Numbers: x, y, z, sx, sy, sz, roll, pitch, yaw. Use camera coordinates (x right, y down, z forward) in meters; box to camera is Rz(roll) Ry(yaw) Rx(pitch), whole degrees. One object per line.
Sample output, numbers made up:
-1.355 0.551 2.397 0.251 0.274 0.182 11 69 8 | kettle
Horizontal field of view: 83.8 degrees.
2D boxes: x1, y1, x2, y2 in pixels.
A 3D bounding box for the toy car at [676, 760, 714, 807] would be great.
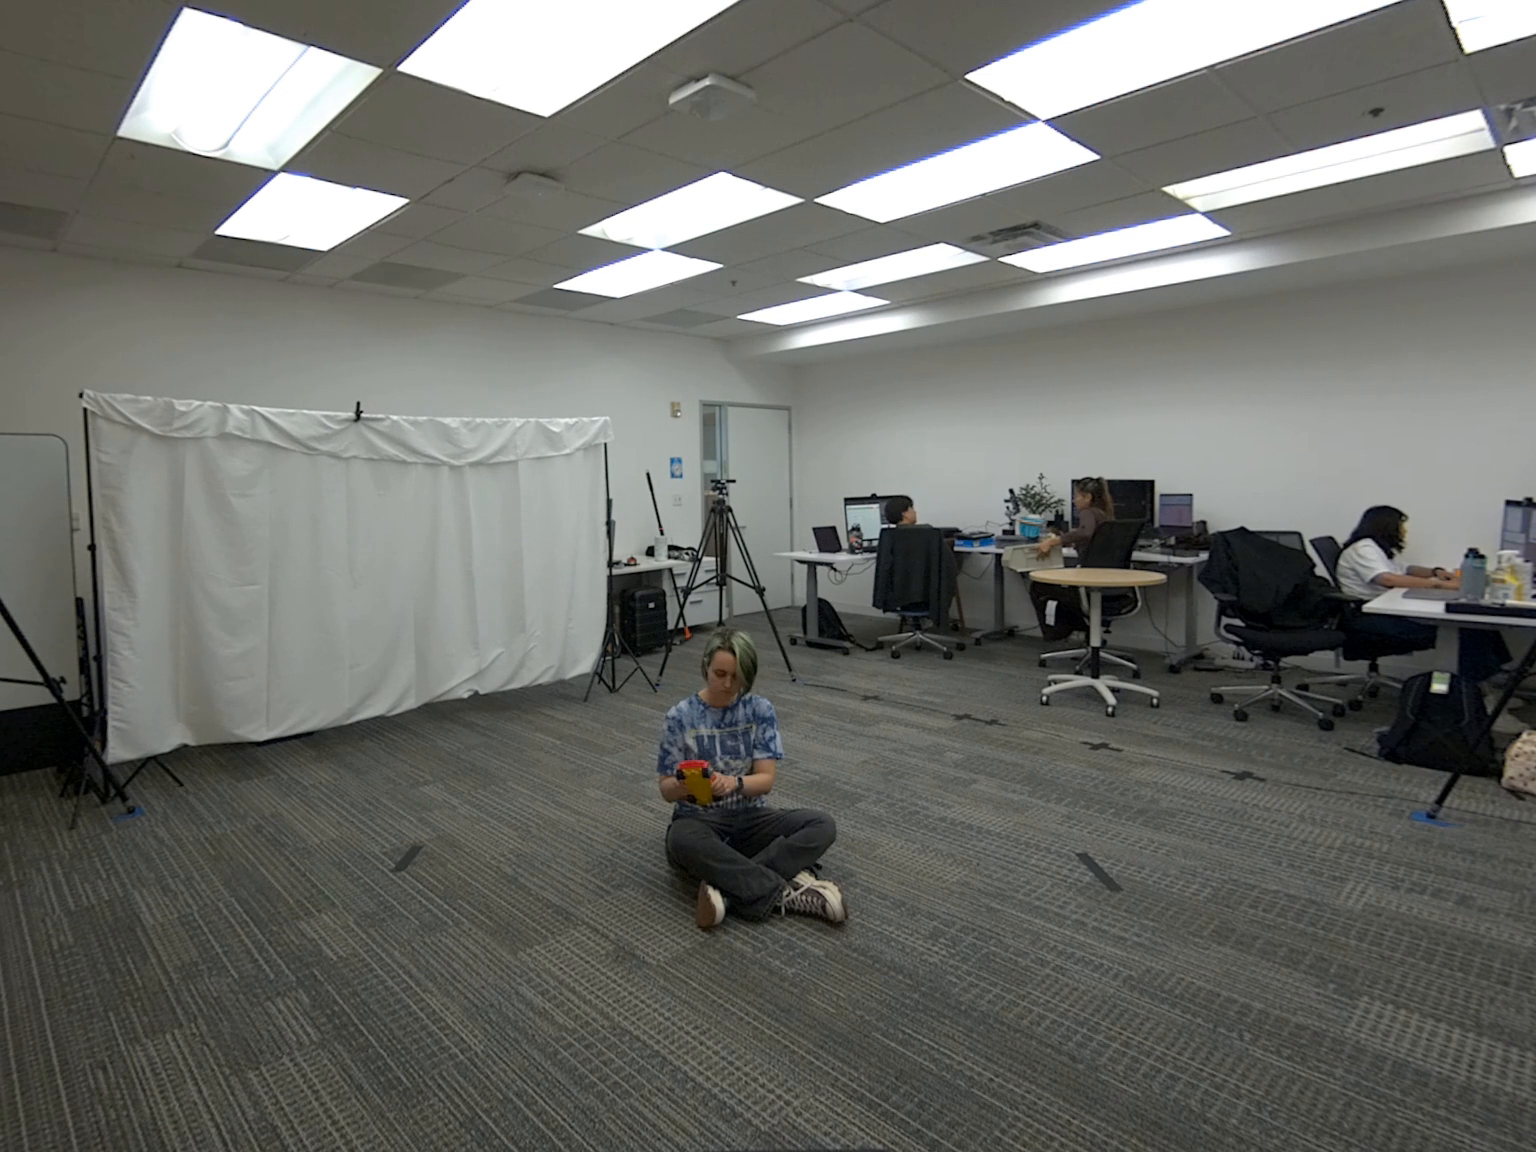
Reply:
-0.217 0.695 2.822 0.132 0.085 0.246 -6 -35 12 | toy car
